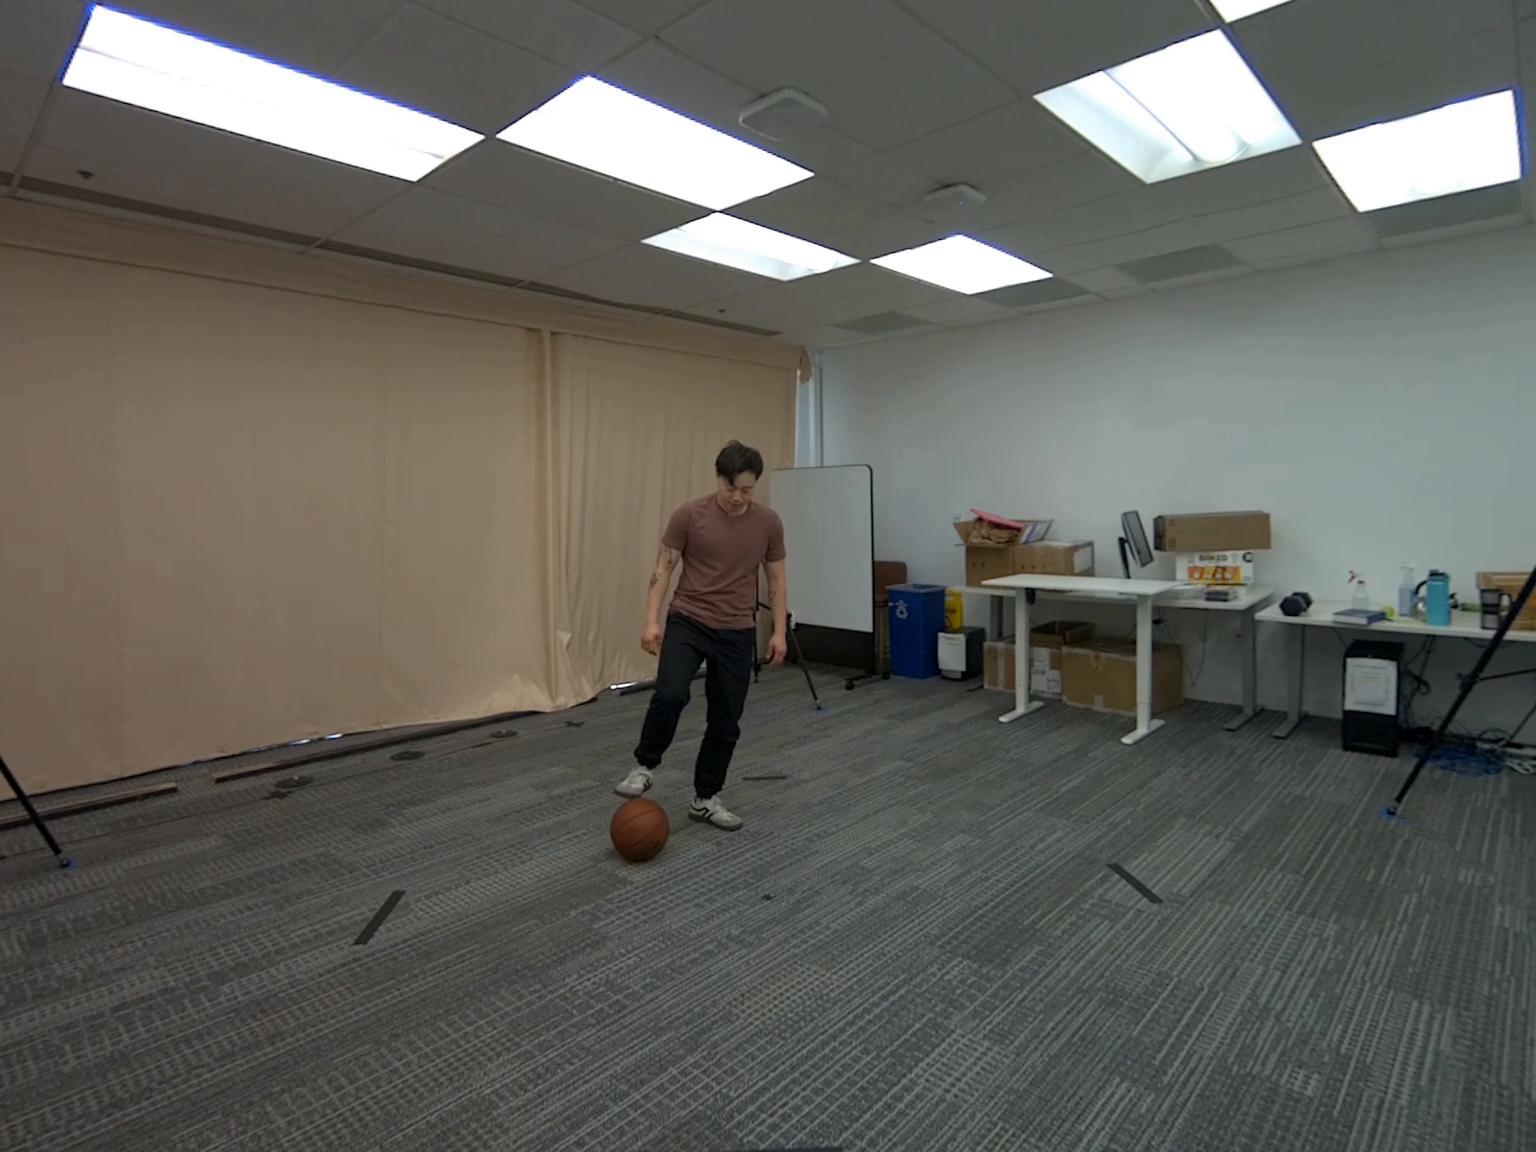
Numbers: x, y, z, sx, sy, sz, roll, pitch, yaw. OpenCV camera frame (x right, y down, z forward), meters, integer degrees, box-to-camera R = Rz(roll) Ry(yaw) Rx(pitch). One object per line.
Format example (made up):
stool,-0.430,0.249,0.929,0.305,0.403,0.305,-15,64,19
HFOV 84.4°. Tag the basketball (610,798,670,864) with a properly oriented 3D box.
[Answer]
basketball,-0.504,1.005,3.331,0.236,0.235,0.237,-1,4,-2
